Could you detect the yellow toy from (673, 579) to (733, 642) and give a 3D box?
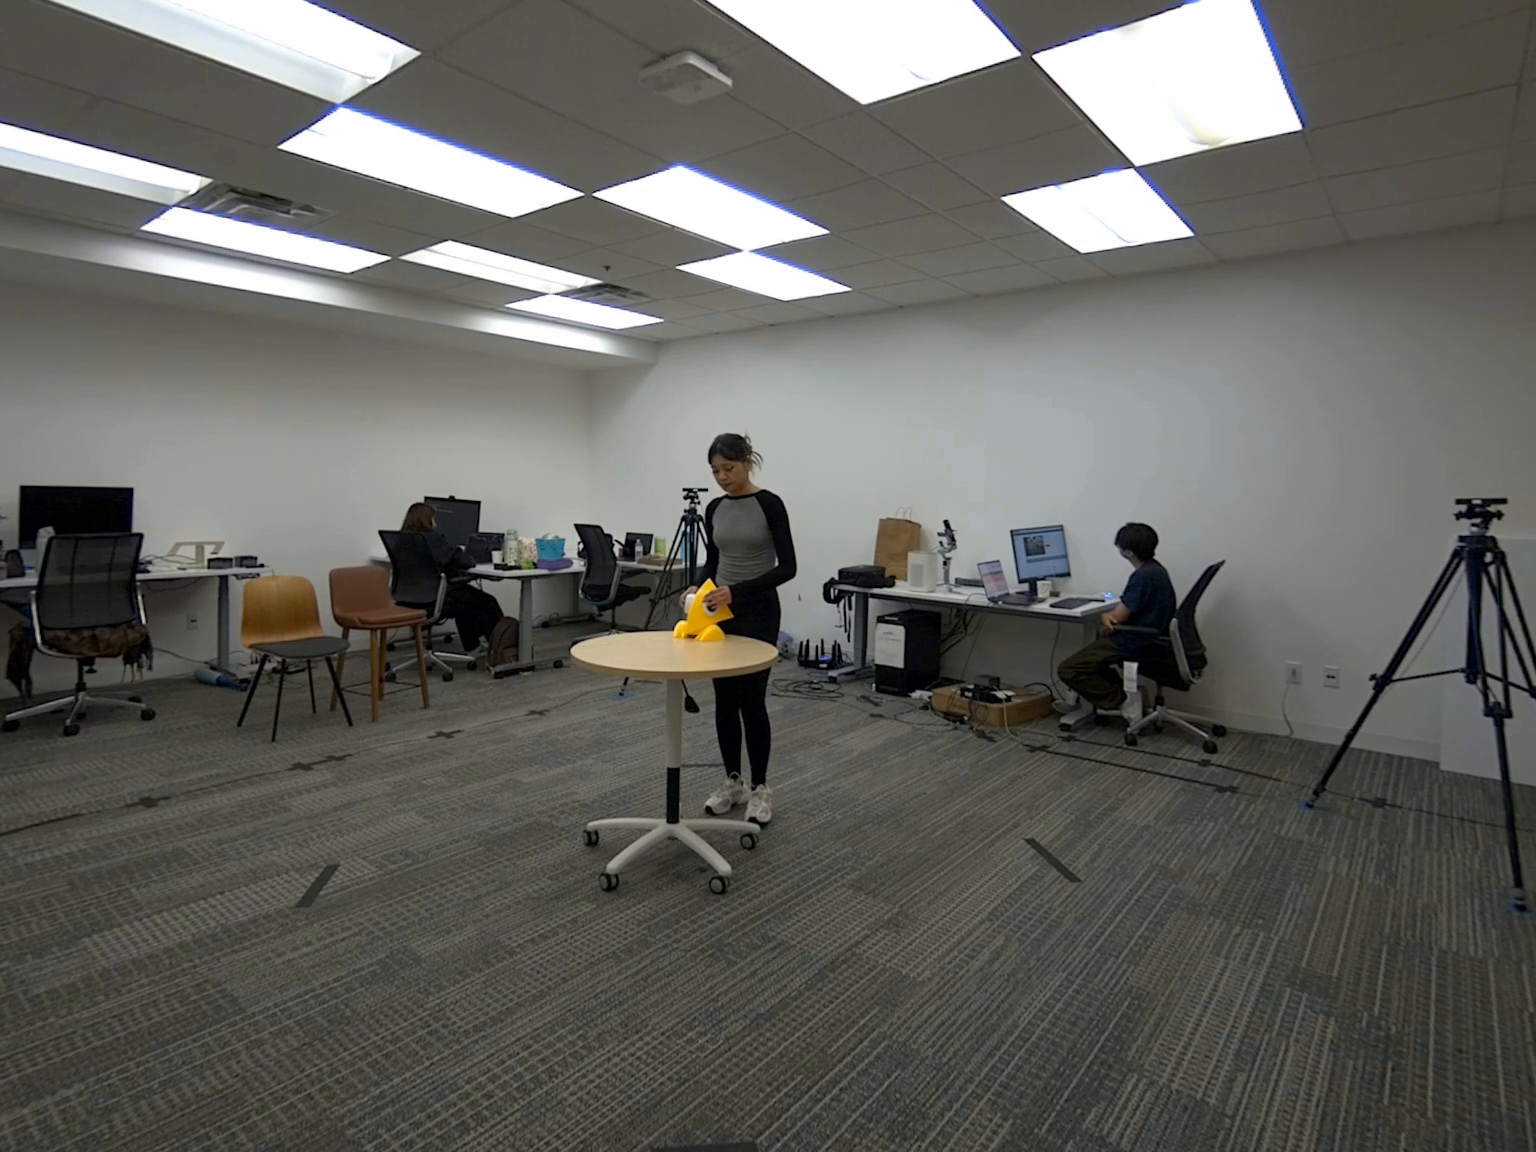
[{"bbox_3d":[-0.285,0.131,3.423,0.211,0.229,0.188,5,7,32],"label":"yellow toy"}]
